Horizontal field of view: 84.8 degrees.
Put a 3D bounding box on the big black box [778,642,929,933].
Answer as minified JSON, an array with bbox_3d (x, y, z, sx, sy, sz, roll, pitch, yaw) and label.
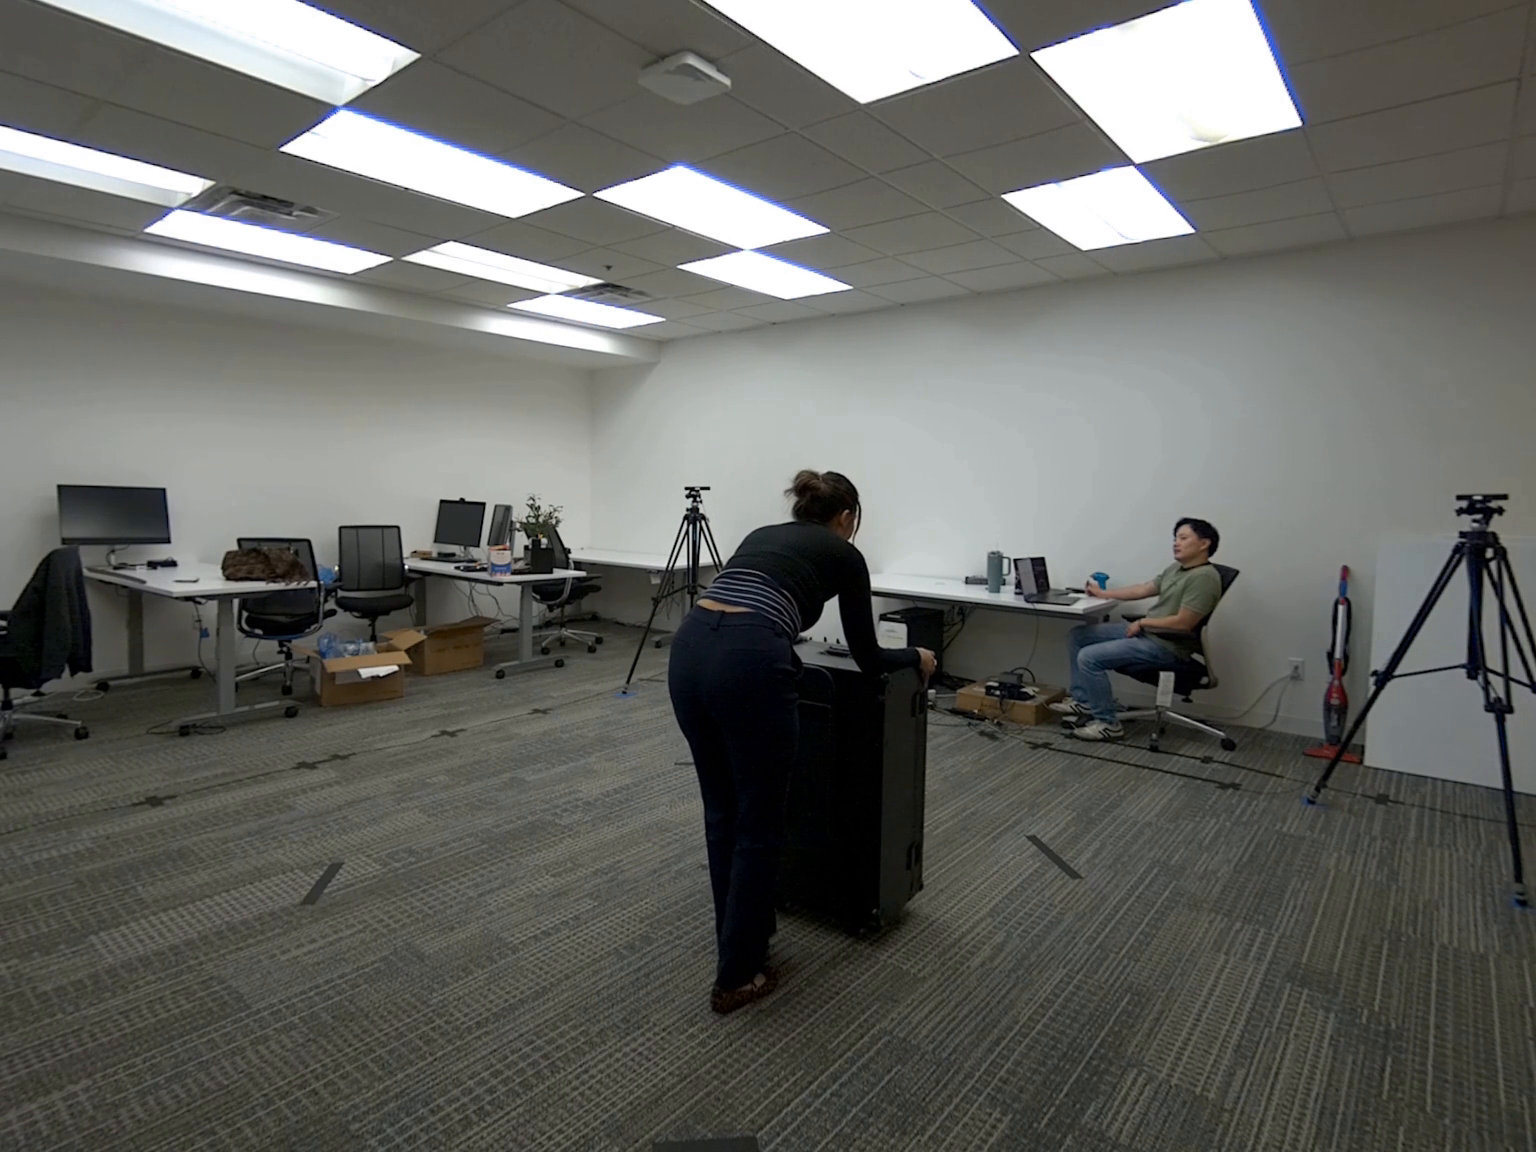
[{"bbox_3d":[0.221,0.681,2.785,0.538,0.857,0.386,4,6,33],"label":"big black box"}]
